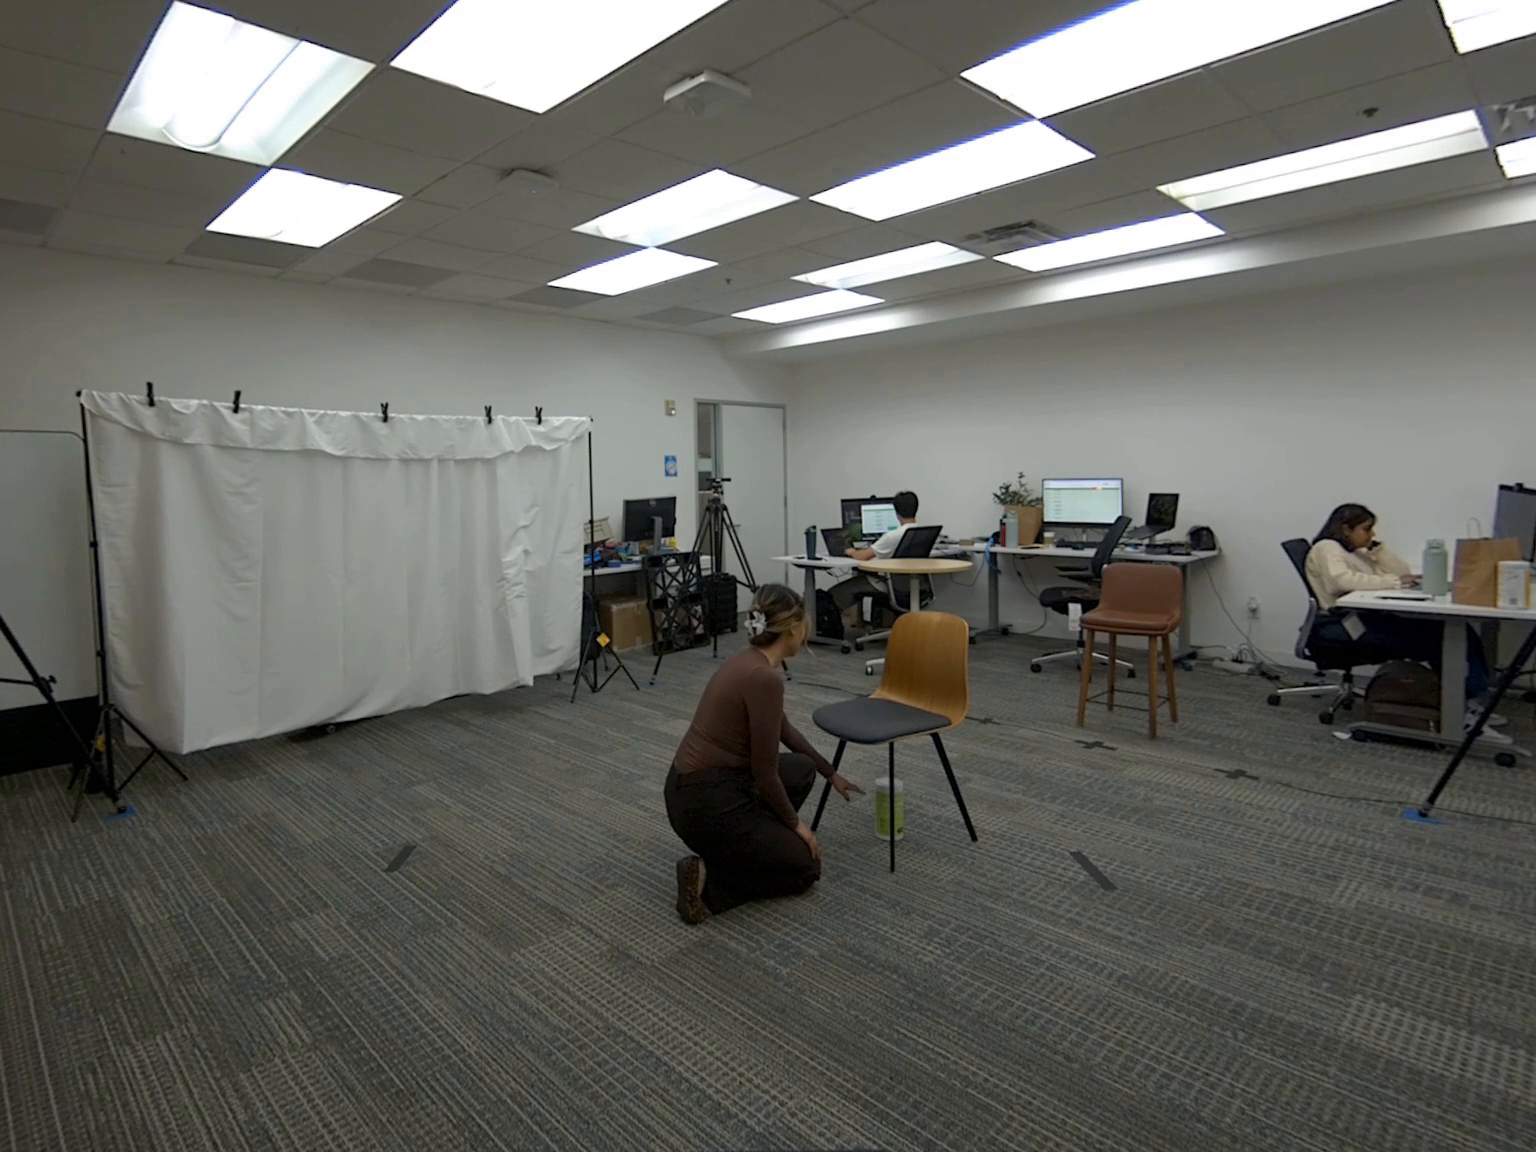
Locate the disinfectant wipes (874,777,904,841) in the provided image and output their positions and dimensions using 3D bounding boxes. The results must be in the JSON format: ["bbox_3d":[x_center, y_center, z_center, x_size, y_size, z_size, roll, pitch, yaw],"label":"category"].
[{"bbox_3d":[0.479,0.912,3.306,0.118,0.216,0.118,-3,4,-1],"label":"disinfectant wipes"}]
